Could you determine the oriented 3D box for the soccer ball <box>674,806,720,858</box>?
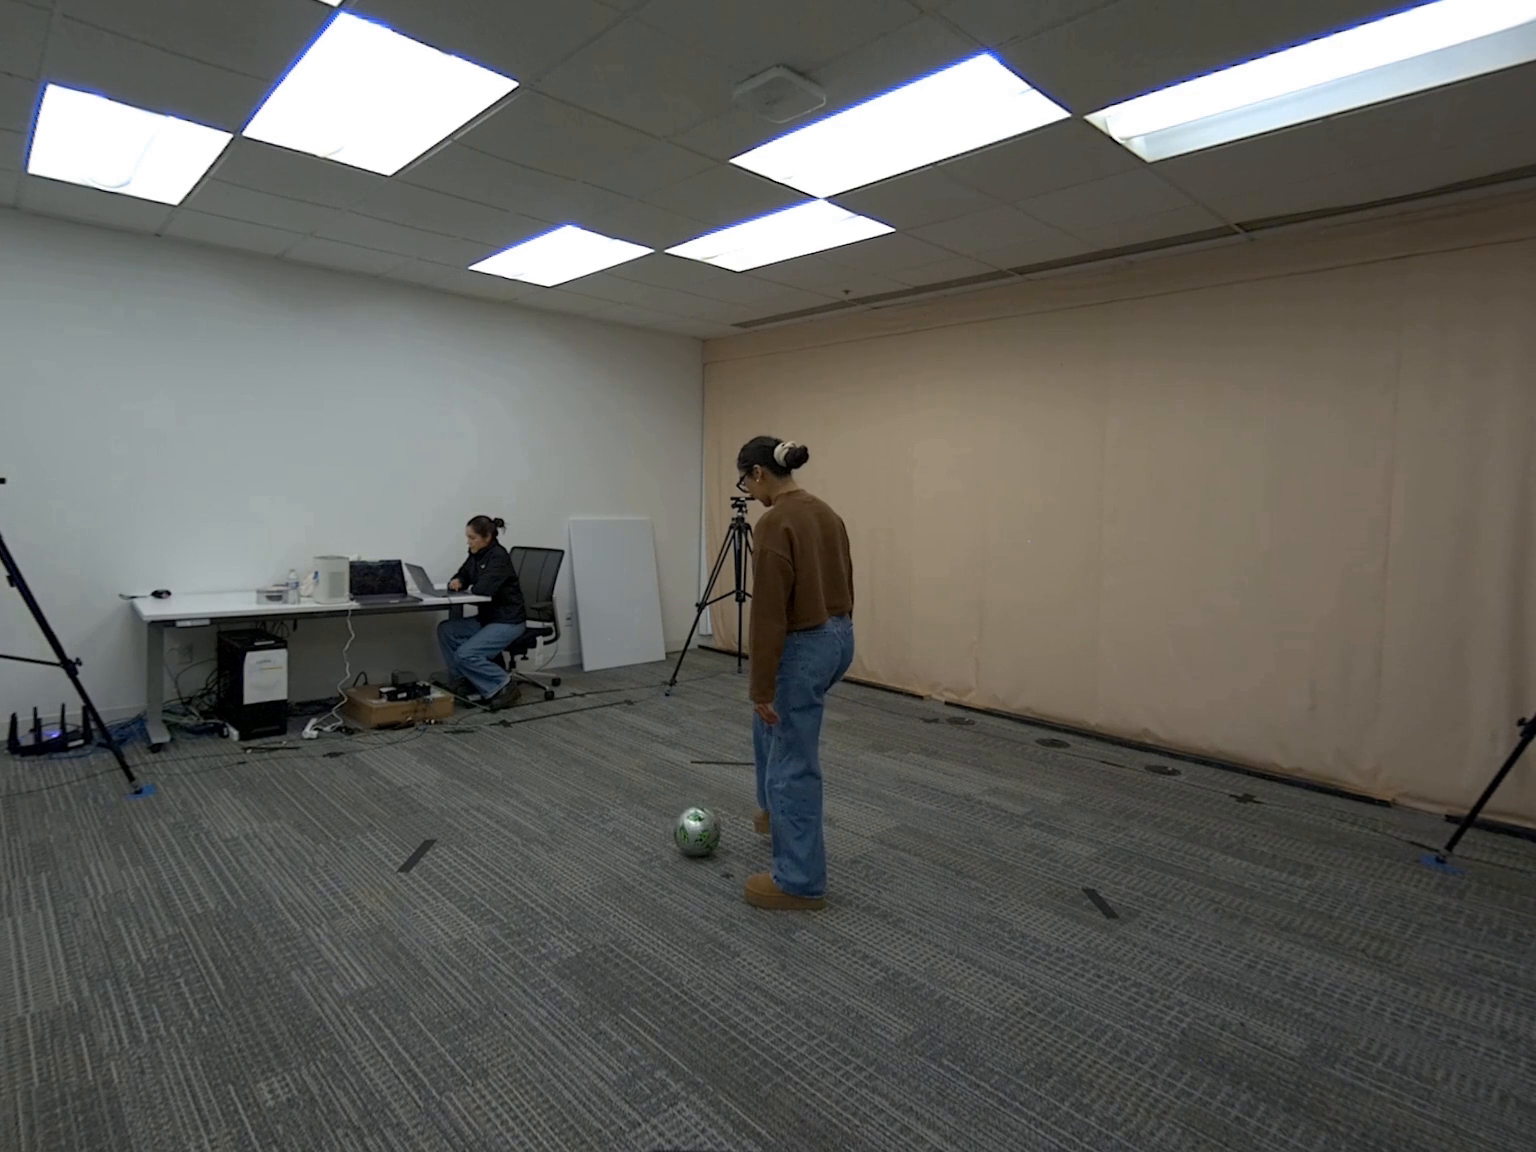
[{"bbox_3d":[-0.282,0.989,3.278,0.187,0.187,0.188,1,4,-1],"label":"soccer ball"}]
